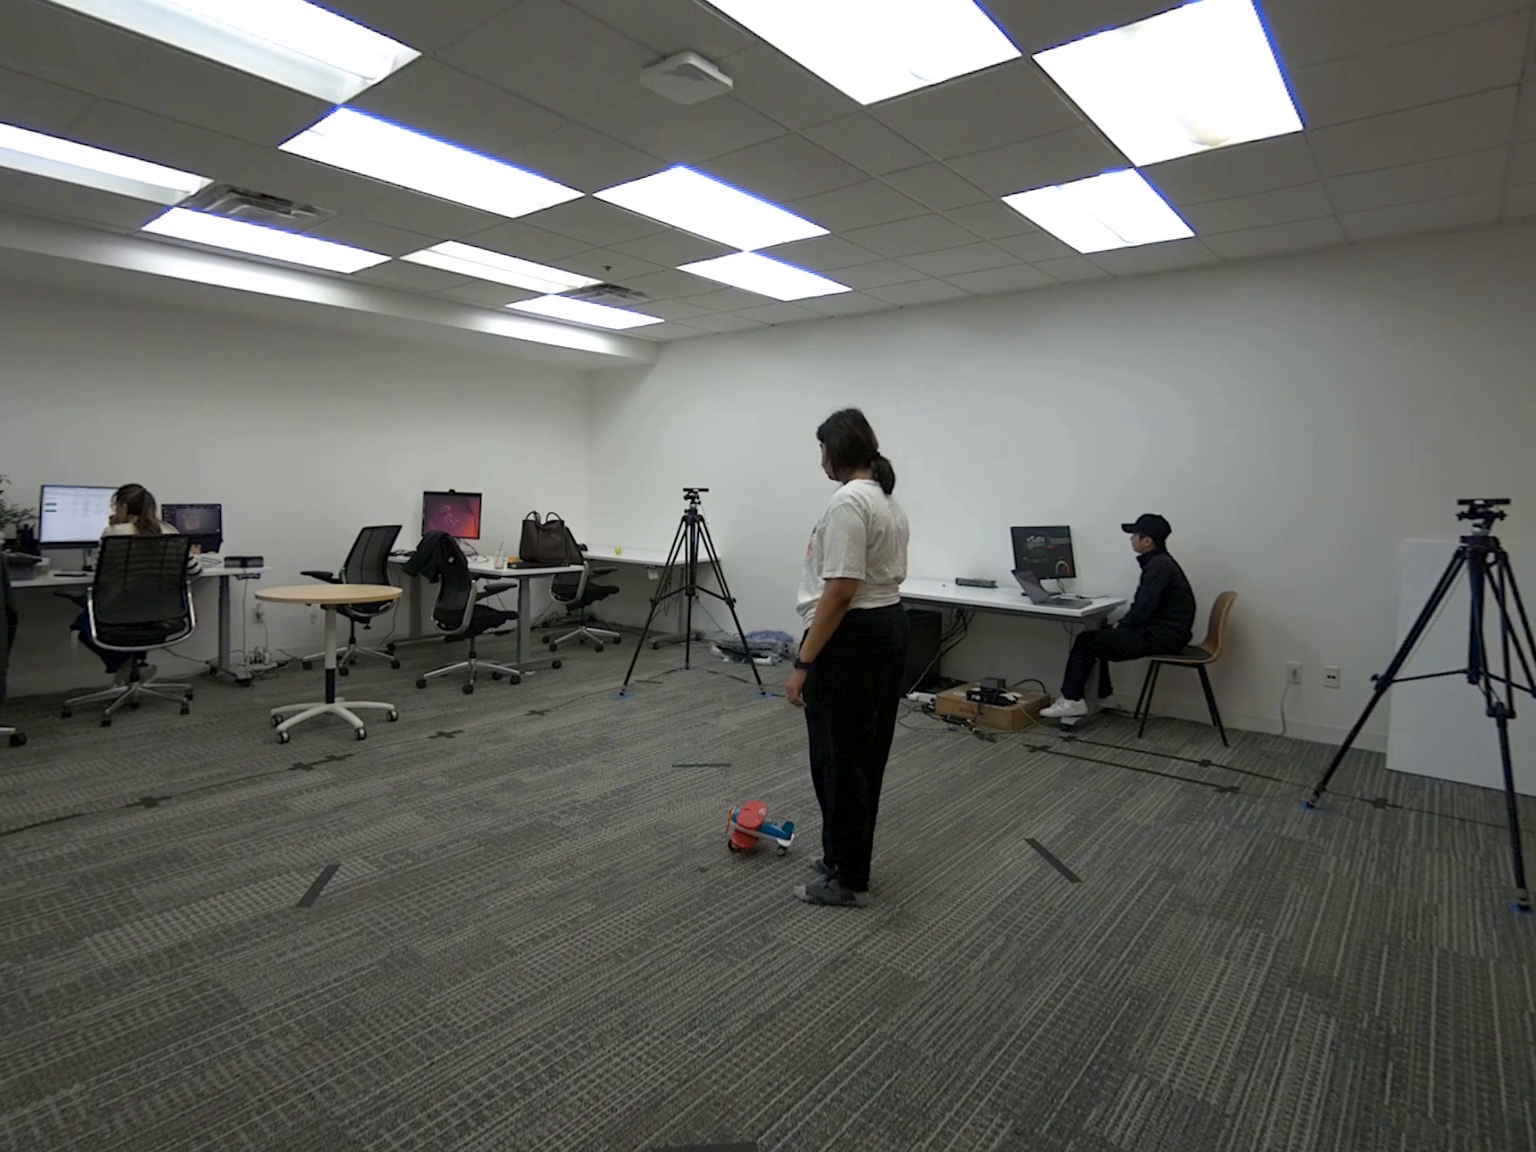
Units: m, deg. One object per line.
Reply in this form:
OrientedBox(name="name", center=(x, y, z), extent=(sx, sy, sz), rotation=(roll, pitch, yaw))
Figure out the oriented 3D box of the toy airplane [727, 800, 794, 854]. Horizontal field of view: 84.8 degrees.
OrientedBox(name="toy airplane", center=(-0.039, 0.974, 3.306), extent=(0.256, 0.156, 0.255), rotation=(-1, 4, -13))
